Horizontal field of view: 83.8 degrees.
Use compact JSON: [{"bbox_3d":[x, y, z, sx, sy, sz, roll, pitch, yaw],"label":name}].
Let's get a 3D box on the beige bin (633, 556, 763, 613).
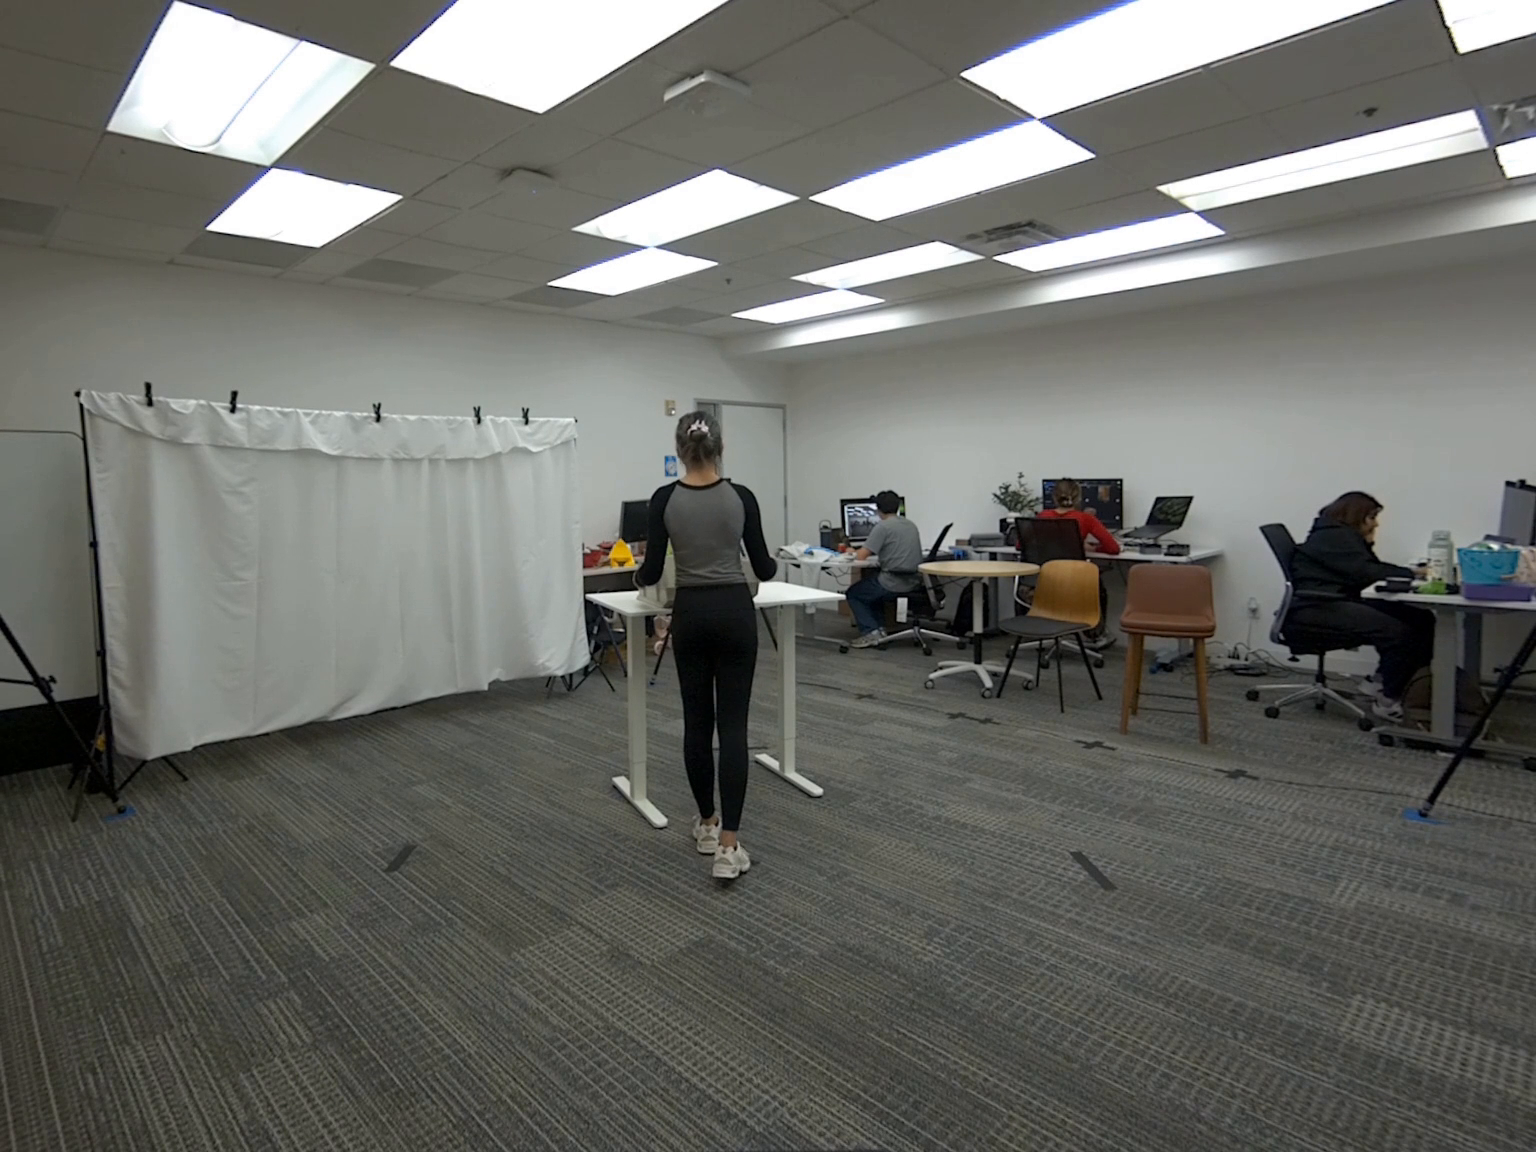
[{"bbox_3d":[-0.301,0.020,3.603,0.413,0.188,0.387,-4,5,-26],"label":"beige bin"}]
